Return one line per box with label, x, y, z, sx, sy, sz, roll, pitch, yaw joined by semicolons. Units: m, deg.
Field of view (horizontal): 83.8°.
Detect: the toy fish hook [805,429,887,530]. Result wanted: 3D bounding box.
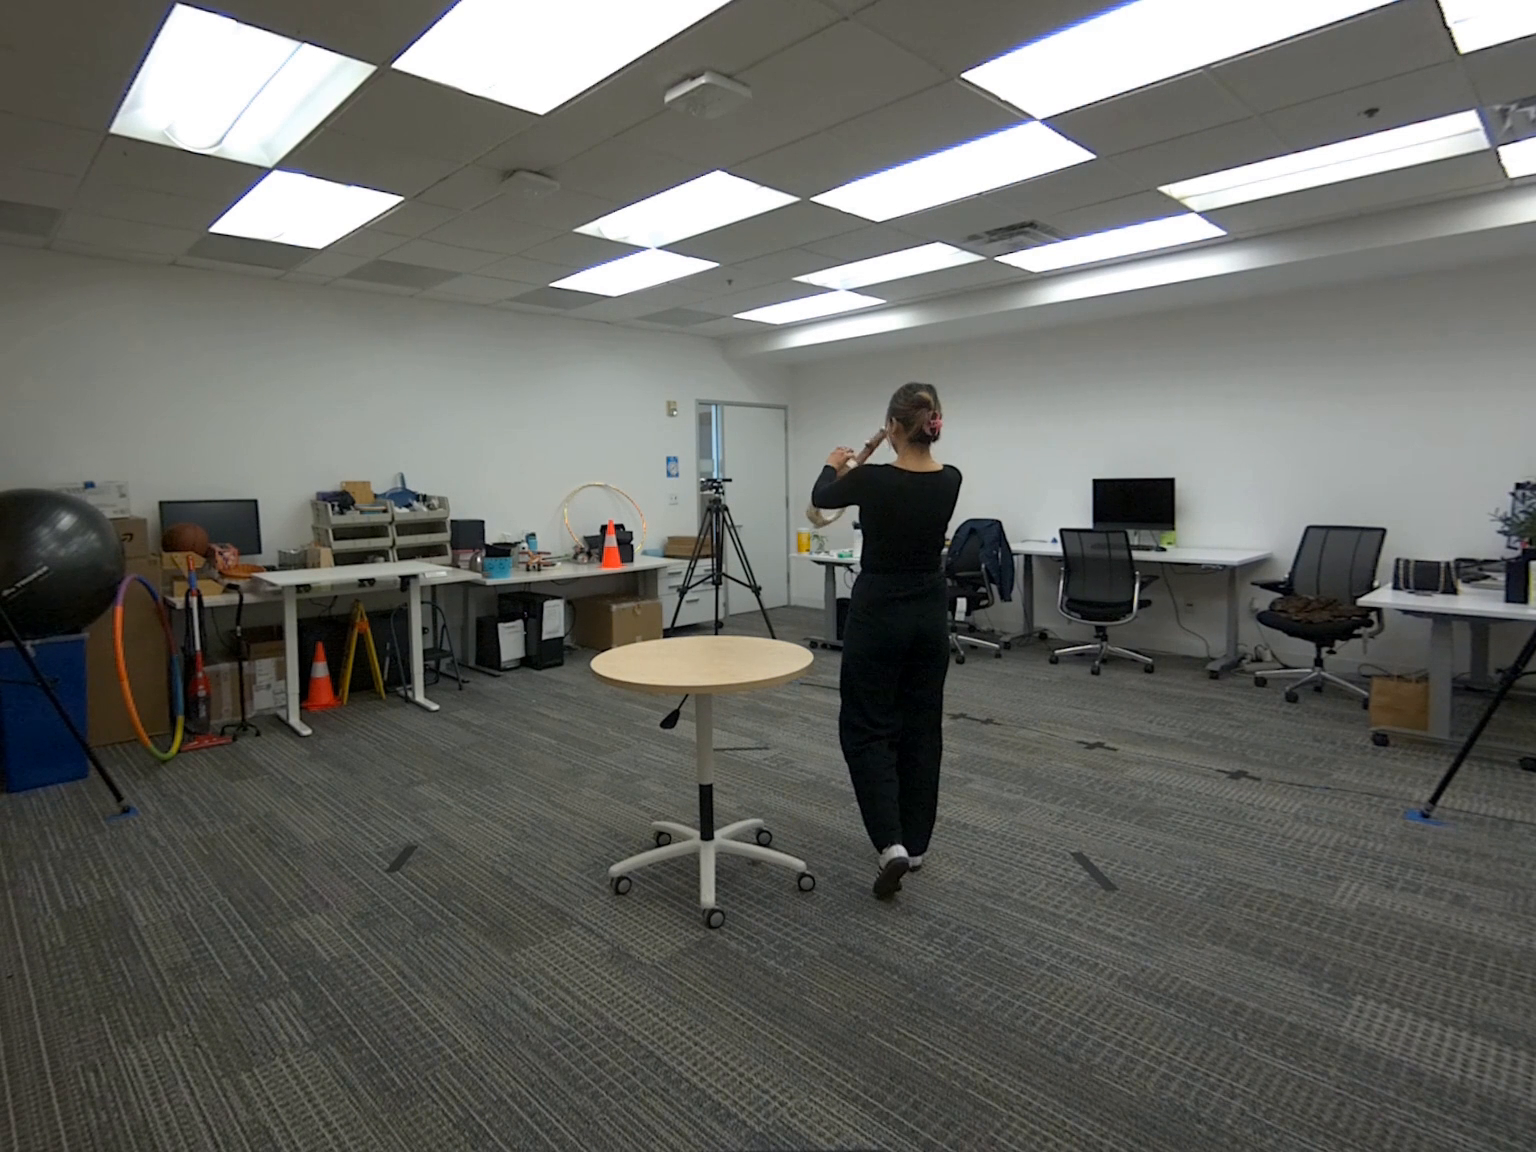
toy fish hook;0.345;-0.403;3.538;0.050;0.506;0.216;37;-10;39
